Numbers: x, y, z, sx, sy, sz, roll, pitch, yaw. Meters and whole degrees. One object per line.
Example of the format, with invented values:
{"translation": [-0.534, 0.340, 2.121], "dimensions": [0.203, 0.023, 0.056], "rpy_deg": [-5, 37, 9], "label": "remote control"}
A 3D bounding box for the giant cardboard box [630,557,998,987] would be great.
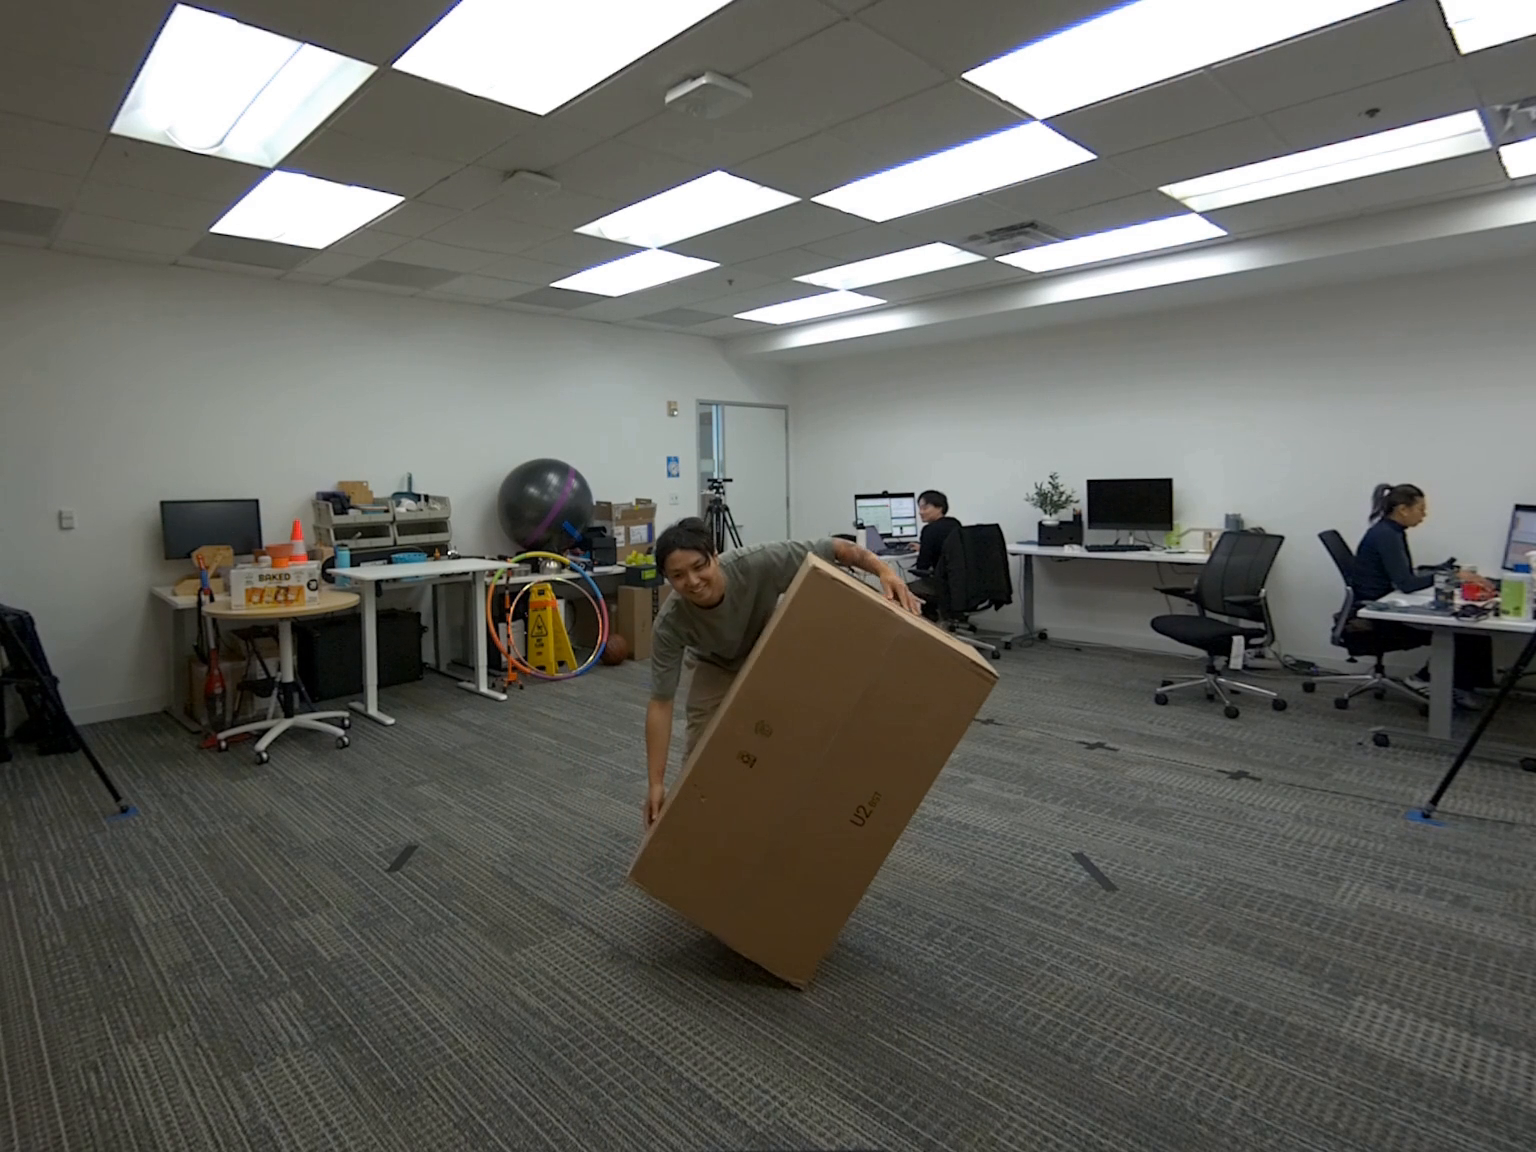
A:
{"translation": [0.126, 0.535, 2.490], "dimensions": [0.578, 1.024, 0.426], "rpy_deg": [30, 6, 0], "label": "giant cardboard box"}
